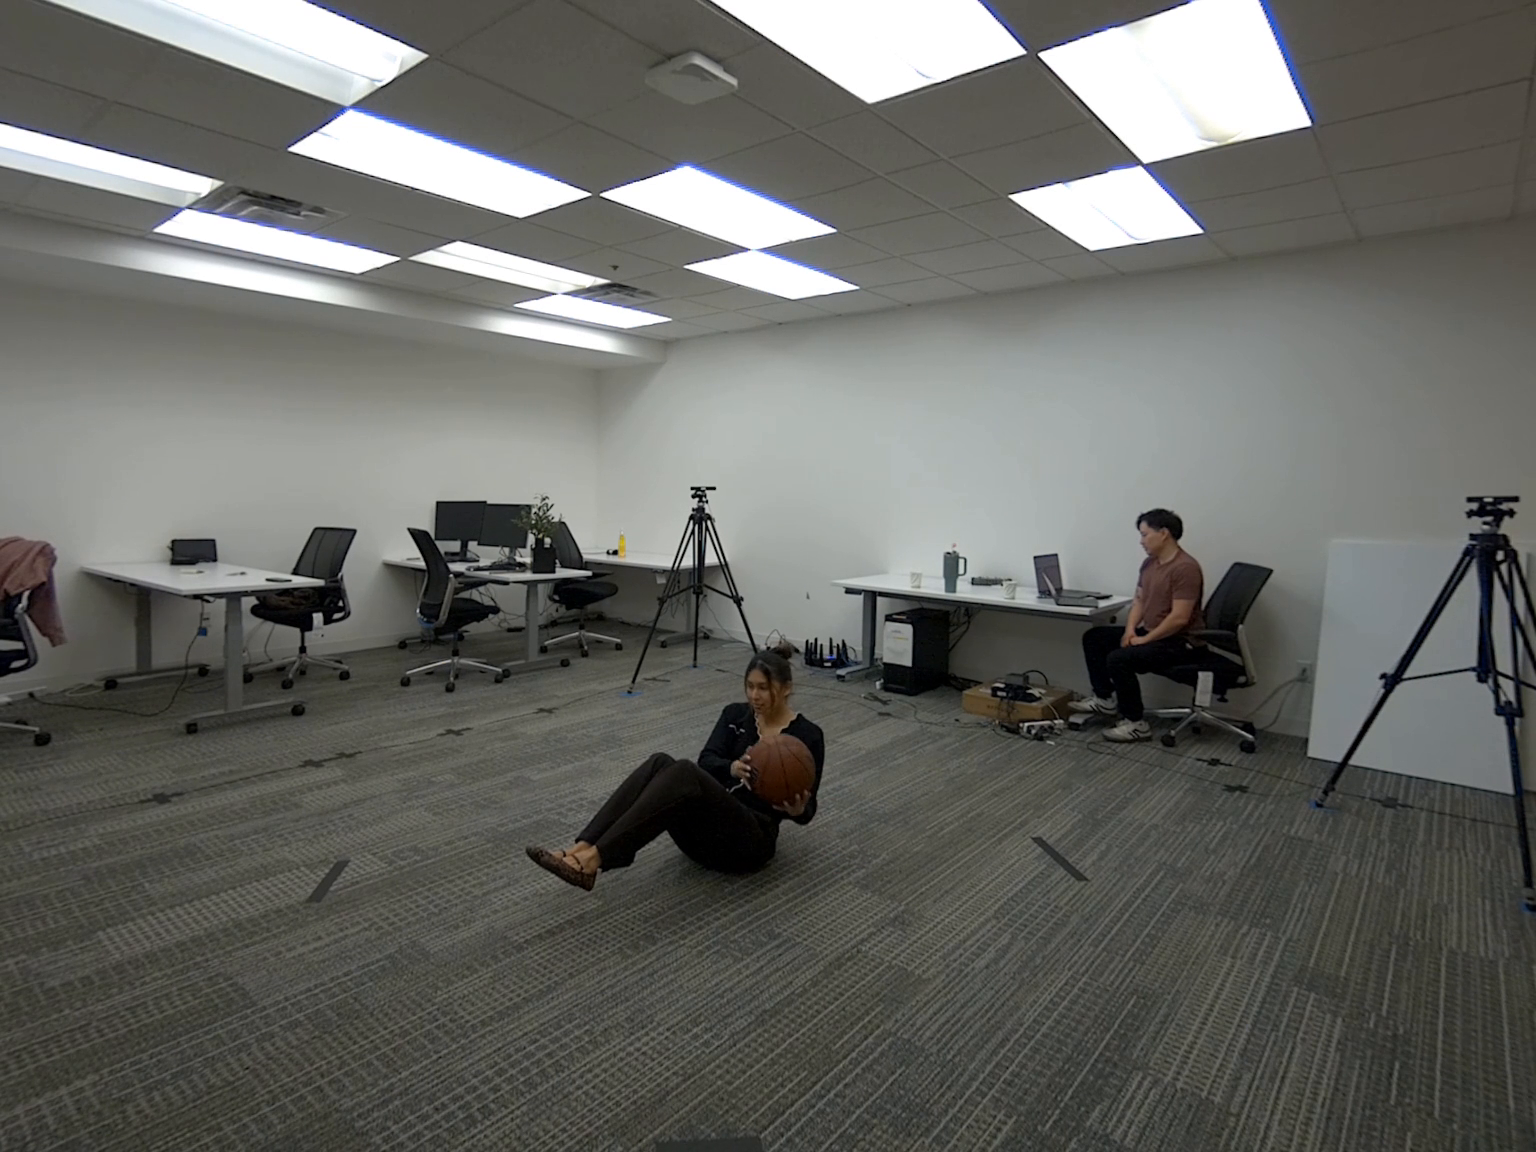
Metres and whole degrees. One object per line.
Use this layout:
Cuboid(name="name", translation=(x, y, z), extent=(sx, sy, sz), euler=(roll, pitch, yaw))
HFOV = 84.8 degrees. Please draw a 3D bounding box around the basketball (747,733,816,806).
Cuboid(name="basketball", translation=(0.022, 0.654, 2.915), extent=(0.235, 0.235, 0.237), euler=(1, 4, -2))
